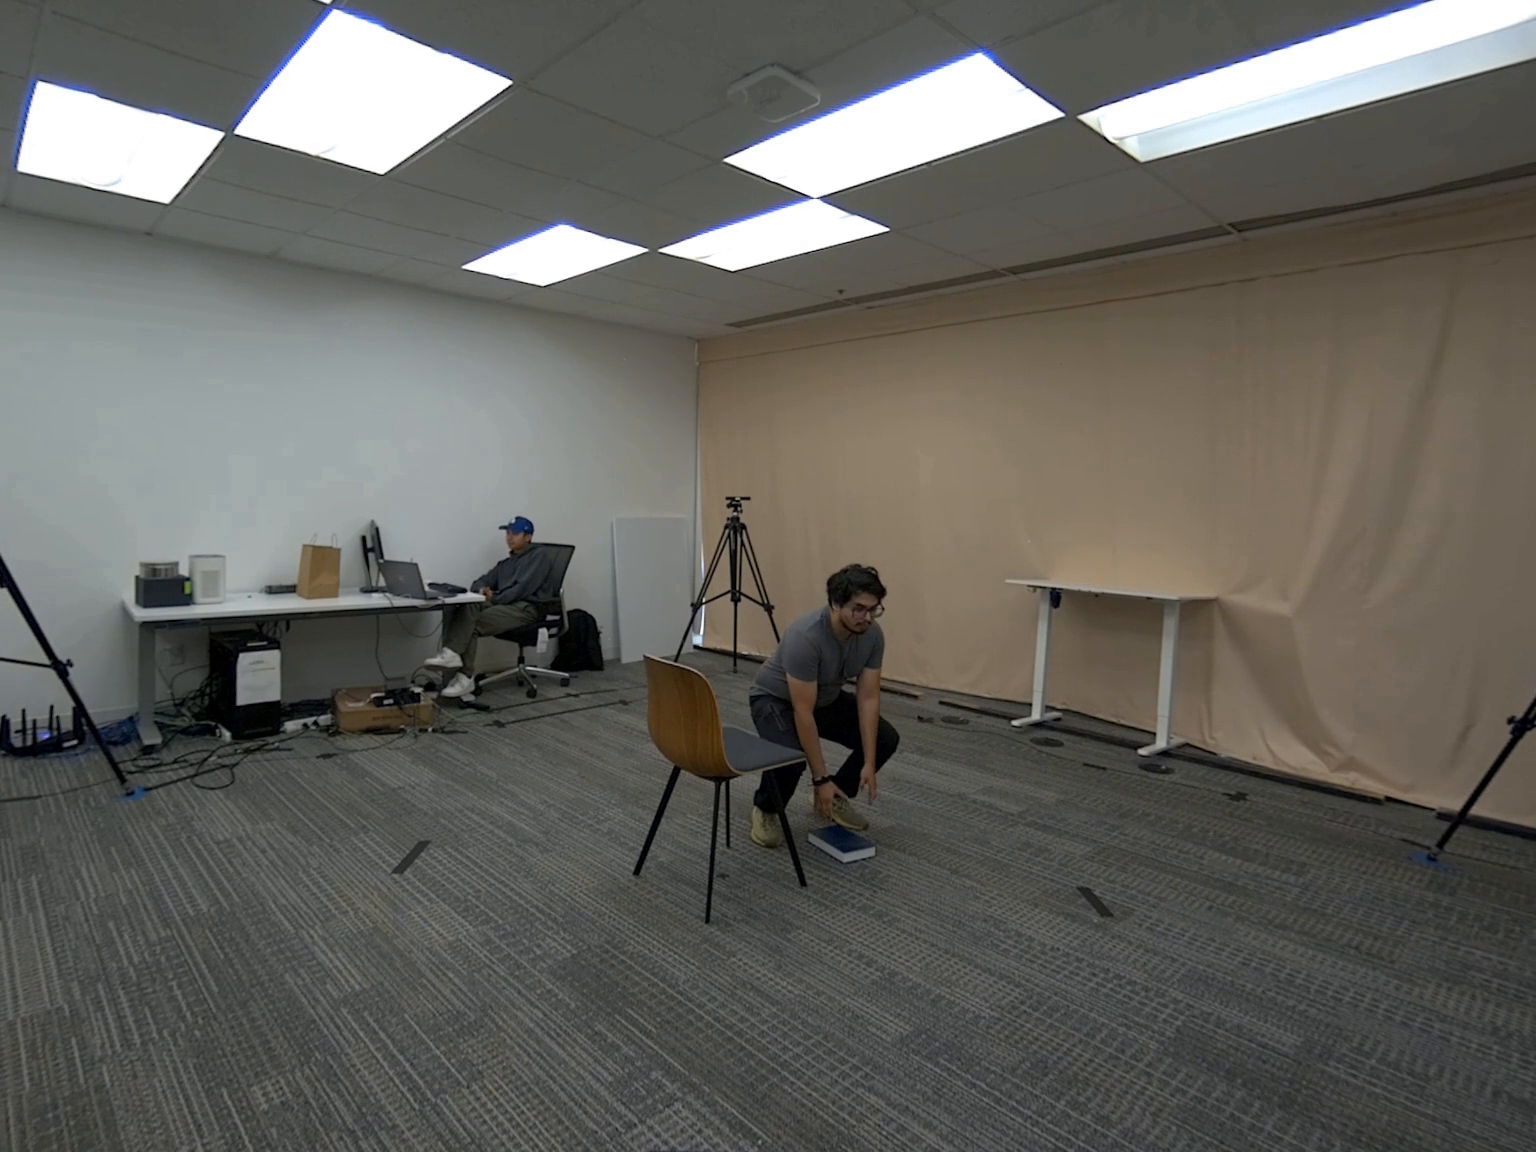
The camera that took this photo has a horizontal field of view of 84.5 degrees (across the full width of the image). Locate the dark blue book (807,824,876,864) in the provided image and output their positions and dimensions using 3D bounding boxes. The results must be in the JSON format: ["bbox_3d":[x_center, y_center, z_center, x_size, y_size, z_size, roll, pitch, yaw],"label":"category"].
[{"bbox_3d":[0.281,1.066,3.372,0.160,0.045,0.251,-2,6,-32],"label":"dark blue book"}]
